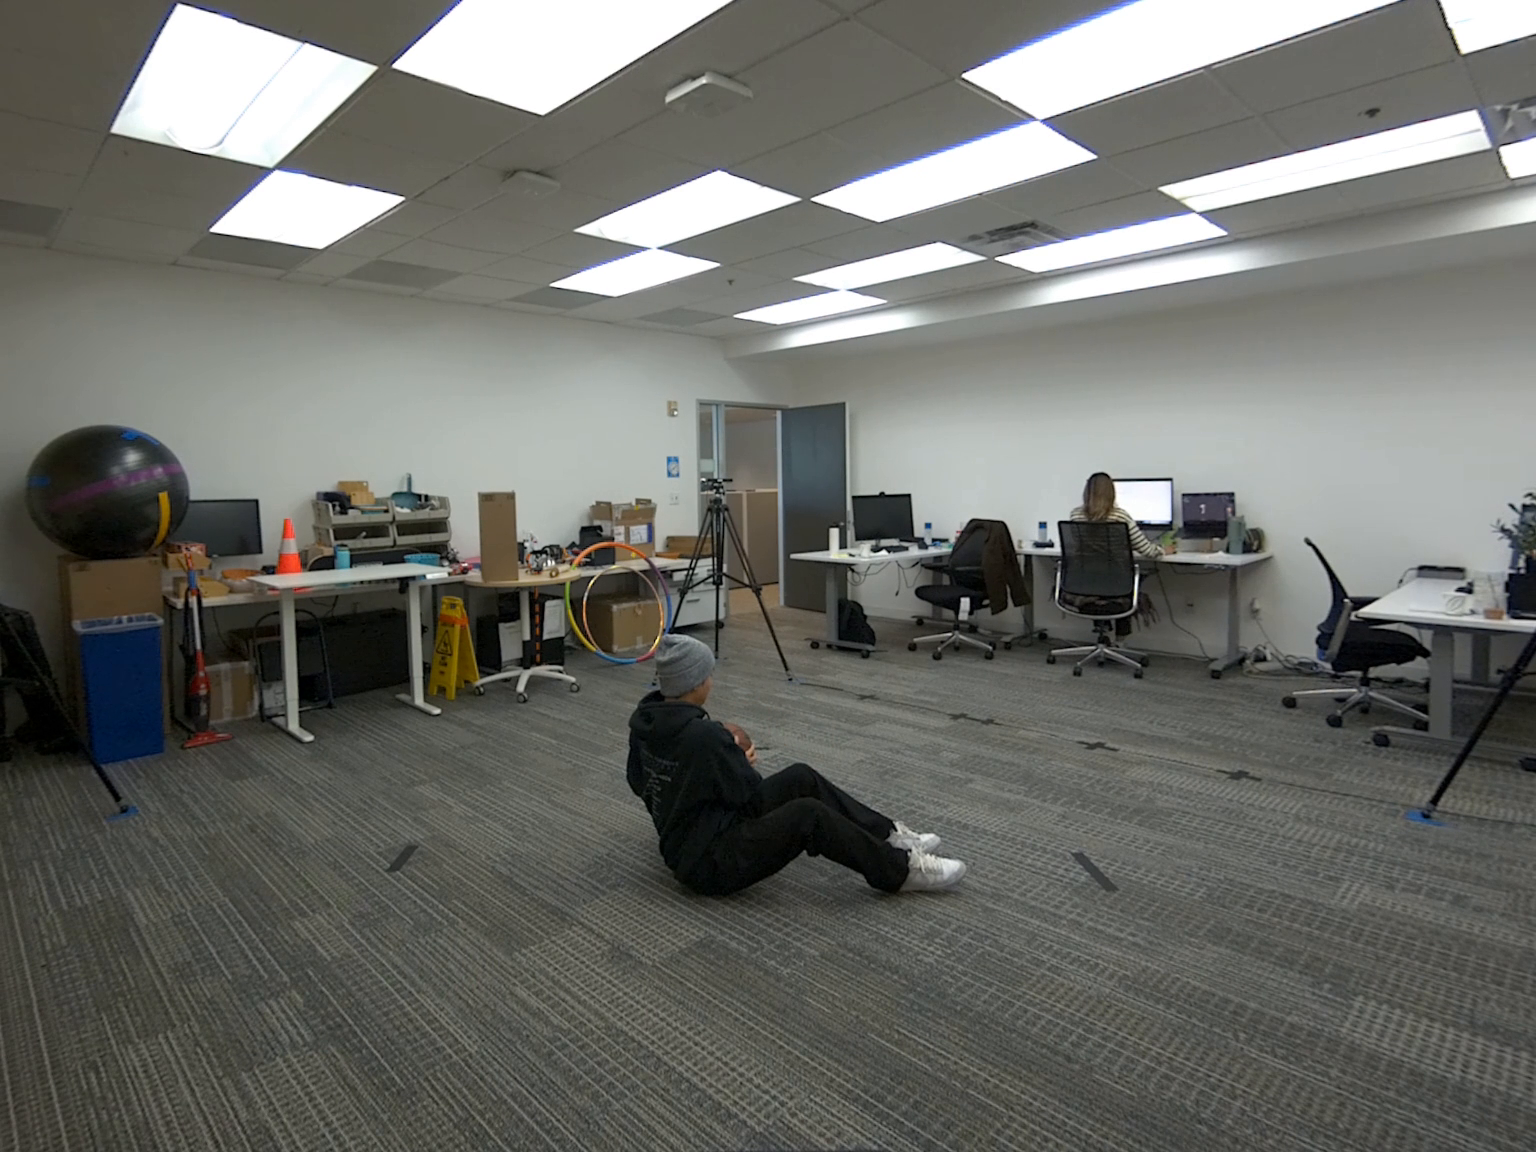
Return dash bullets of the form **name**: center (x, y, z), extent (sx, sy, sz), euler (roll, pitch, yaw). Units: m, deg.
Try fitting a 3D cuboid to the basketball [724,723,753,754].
- **basketball**: center (-0.158, 0.697, 3.352), extent (0.236, 0.235, 0.237), euler (-1, 5, -2)
